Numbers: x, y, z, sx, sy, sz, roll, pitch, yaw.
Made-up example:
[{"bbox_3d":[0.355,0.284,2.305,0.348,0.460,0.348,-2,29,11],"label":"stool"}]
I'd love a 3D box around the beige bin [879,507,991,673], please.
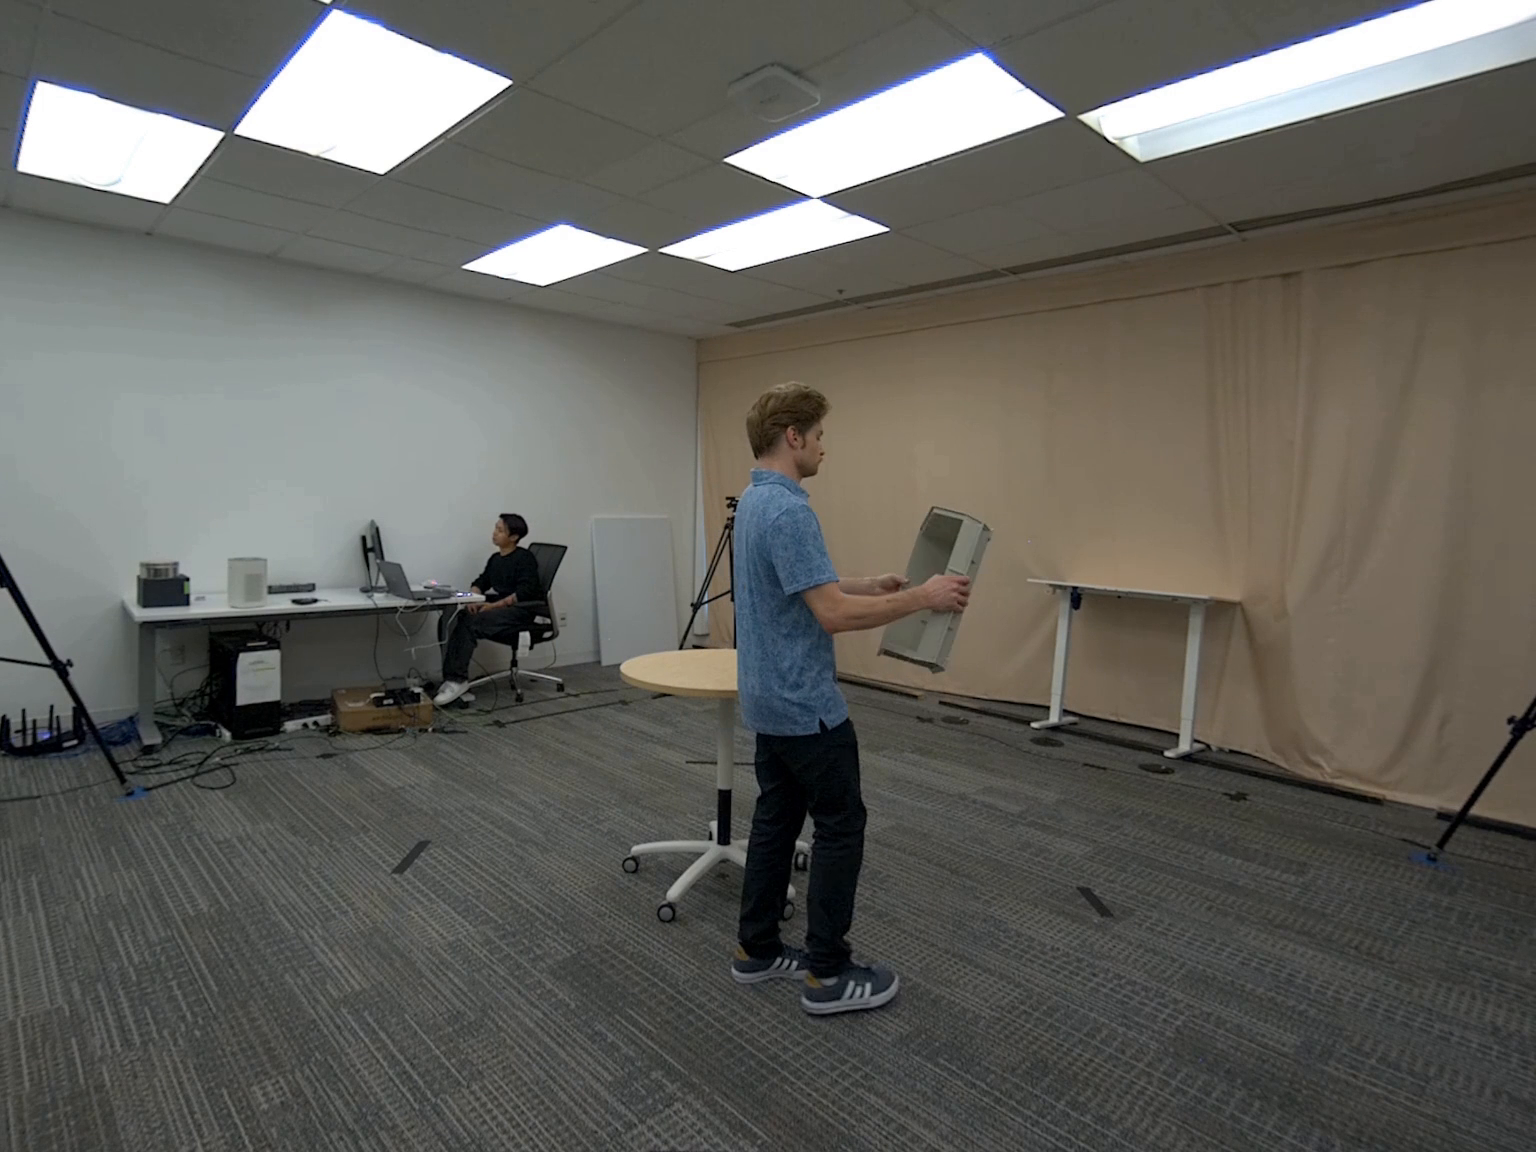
[{"bbox_3d":[0.465,0.049,2.417,0.191,0.423,0.372,20,-6,9],"label":"beige bin"}]
